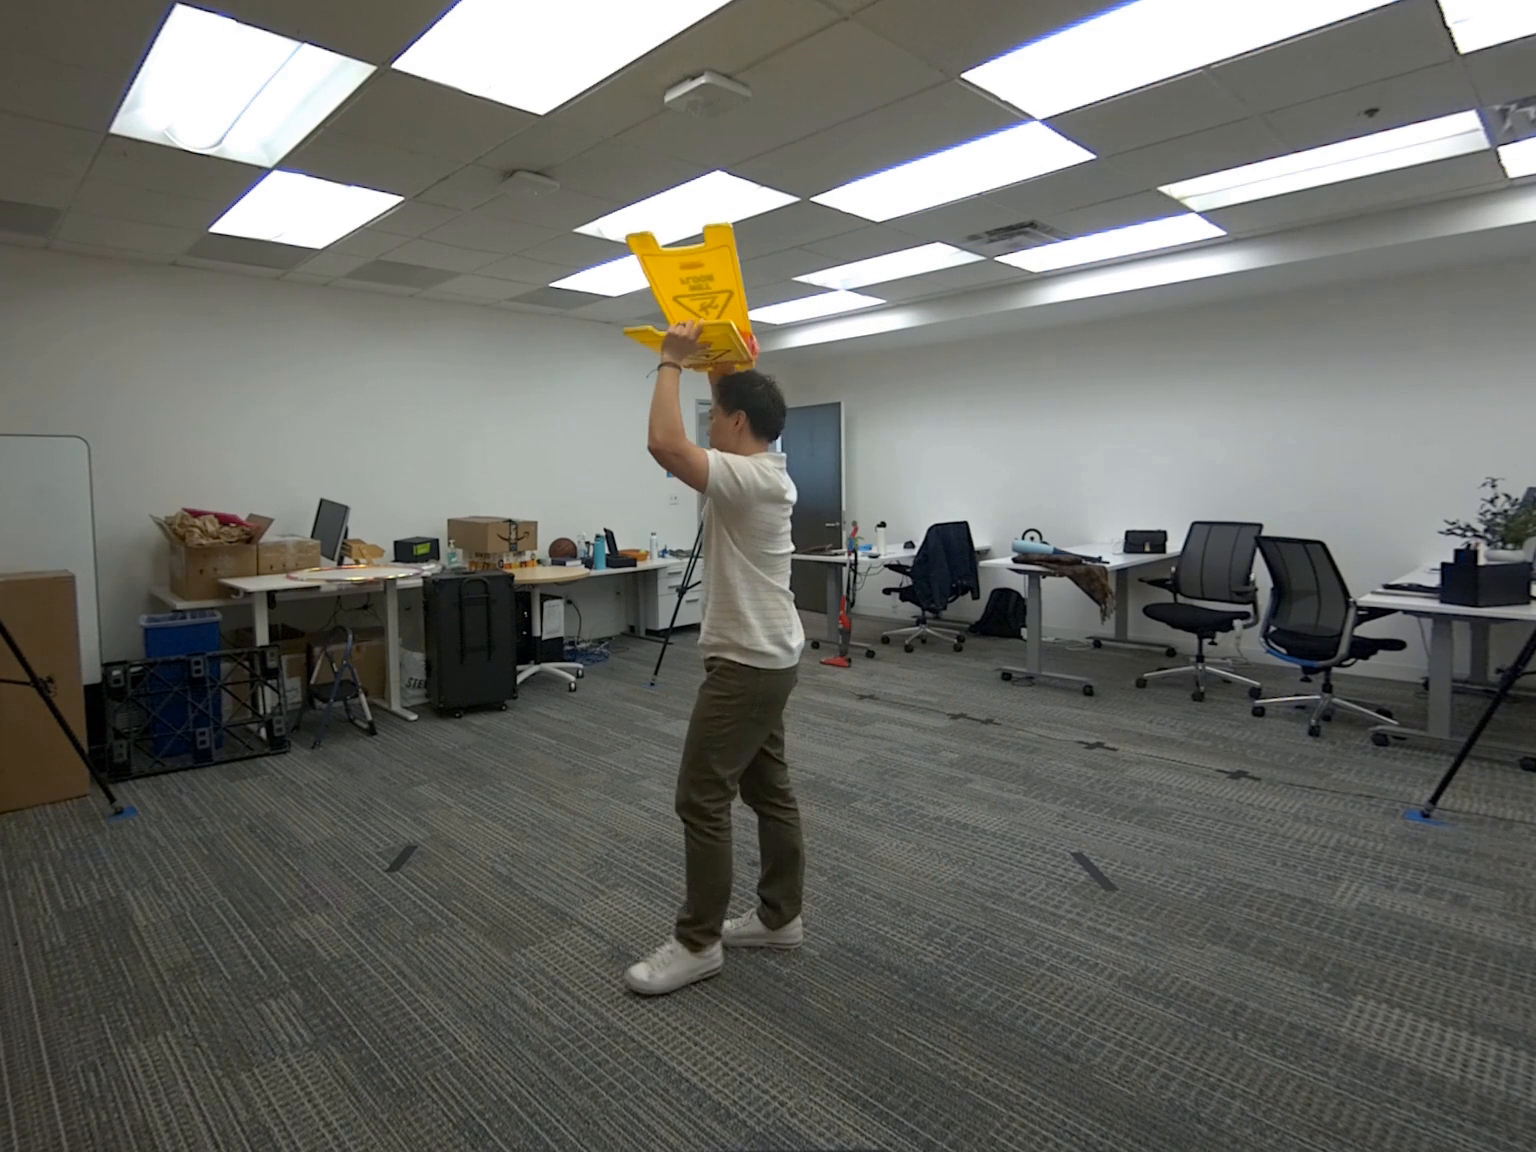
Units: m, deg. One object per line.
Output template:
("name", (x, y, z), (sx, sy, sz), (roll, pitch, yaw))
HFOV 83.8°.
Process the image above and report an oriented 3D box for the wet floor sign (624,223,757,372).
("wet floor sign", (-0.180, -0.714, 2.445), (0.284, 0.292, 0.636), (-1, -7, 7))
